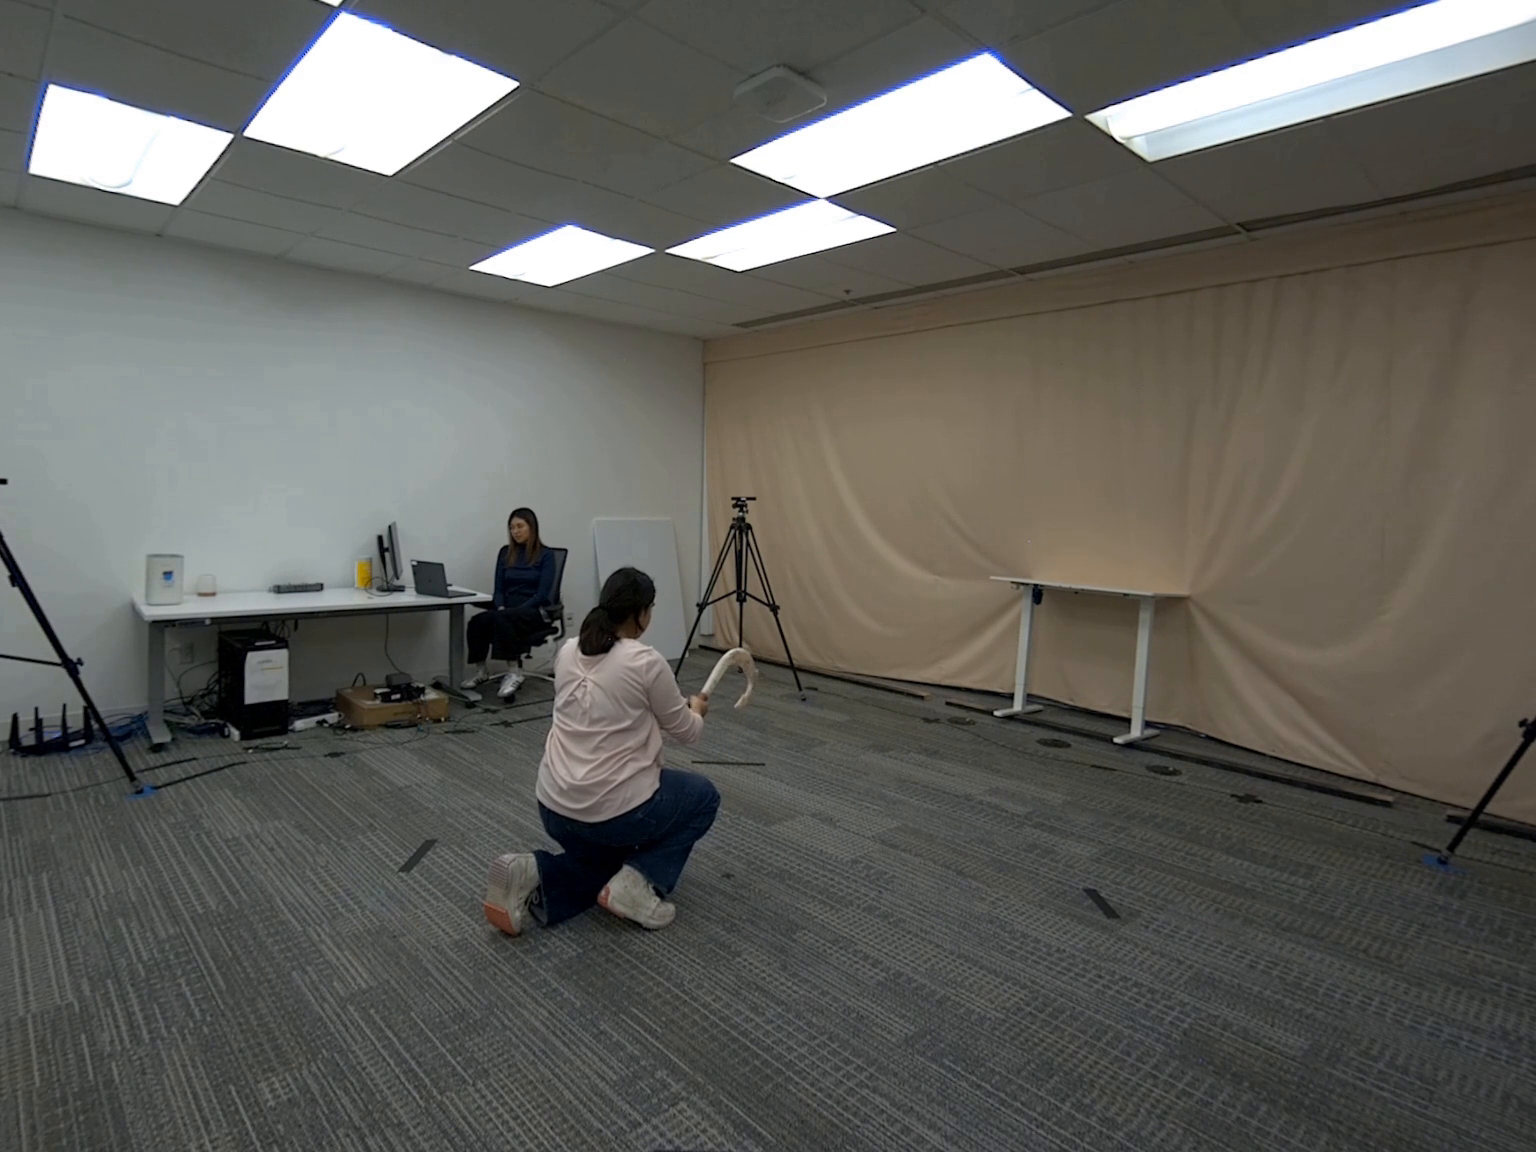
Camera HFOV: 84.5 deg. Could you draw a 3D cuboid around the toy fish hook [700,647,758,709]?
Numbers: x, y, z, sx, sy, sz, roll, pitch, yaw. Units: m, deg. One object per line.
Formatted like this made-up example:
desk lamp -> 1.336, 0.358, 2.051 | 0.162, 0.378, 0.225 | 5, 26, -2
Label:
toy fish hook -> -0.195, 0.483, 3.269 | 0.049, 0.222, 0.504 | -17, 18, 45
